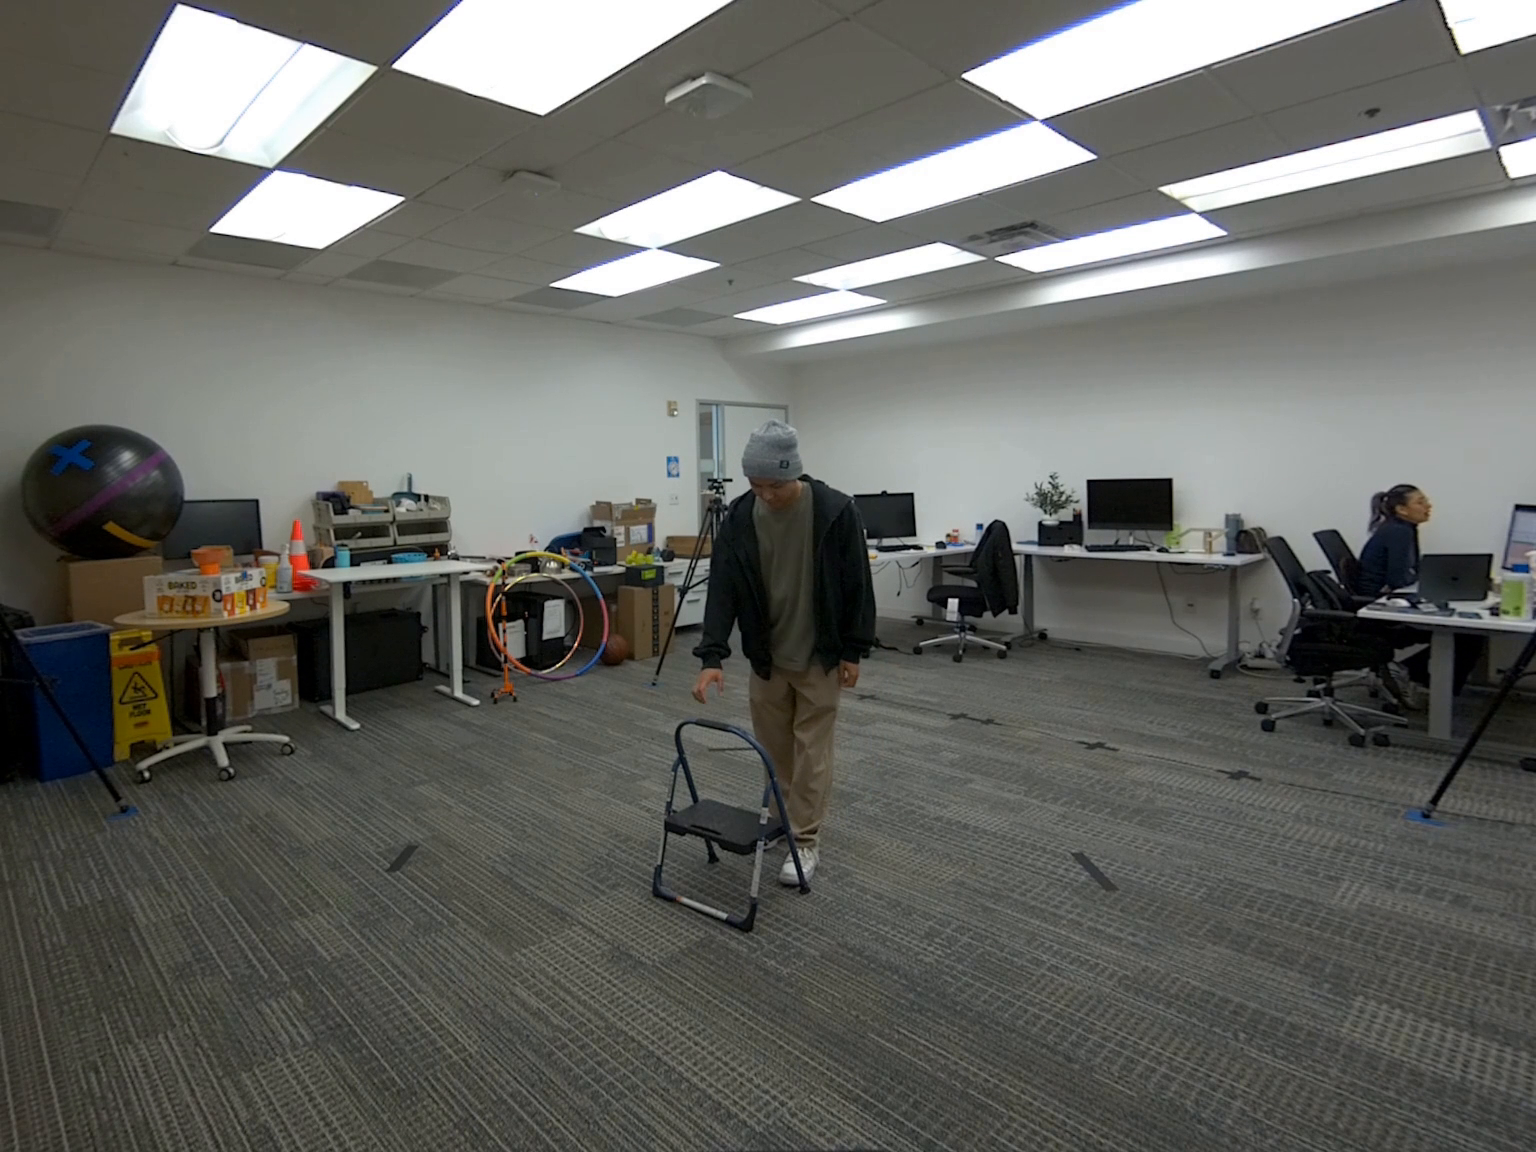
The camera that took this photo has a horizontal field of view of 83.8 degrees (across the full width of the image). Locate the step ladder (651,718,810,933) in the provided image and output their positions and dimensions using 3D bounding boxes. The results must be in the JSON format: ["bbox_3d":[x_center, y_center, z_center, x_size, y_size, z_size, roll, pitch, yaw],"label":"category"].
[{"bbox_3d":[-0.131,0.770,2.868,0.443,0.604,0.340,2,5,36],"label":"step ladder"}]
